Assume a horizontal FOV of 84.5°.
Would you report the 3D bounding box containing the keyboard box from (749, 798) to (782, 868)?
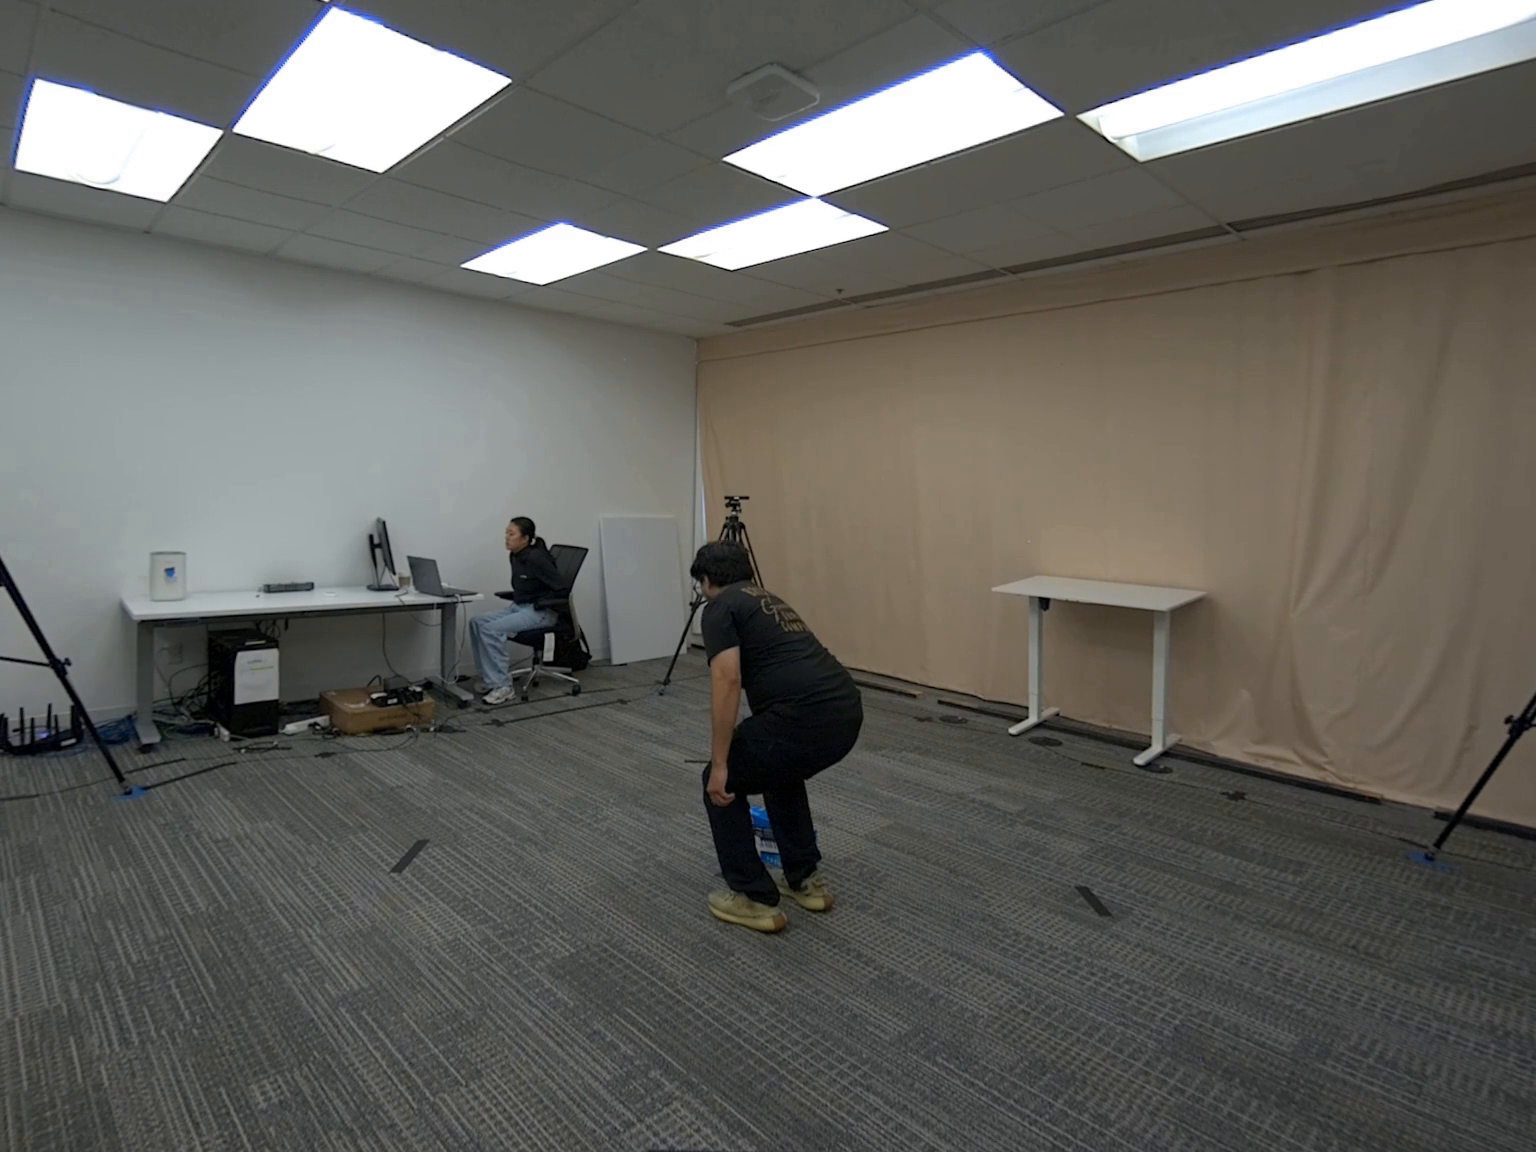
[{"bbox_3d":[-0.002,1.012,3.242,0.448,0.175,0.058,6,10,44],"label":"keyboard box"}]
